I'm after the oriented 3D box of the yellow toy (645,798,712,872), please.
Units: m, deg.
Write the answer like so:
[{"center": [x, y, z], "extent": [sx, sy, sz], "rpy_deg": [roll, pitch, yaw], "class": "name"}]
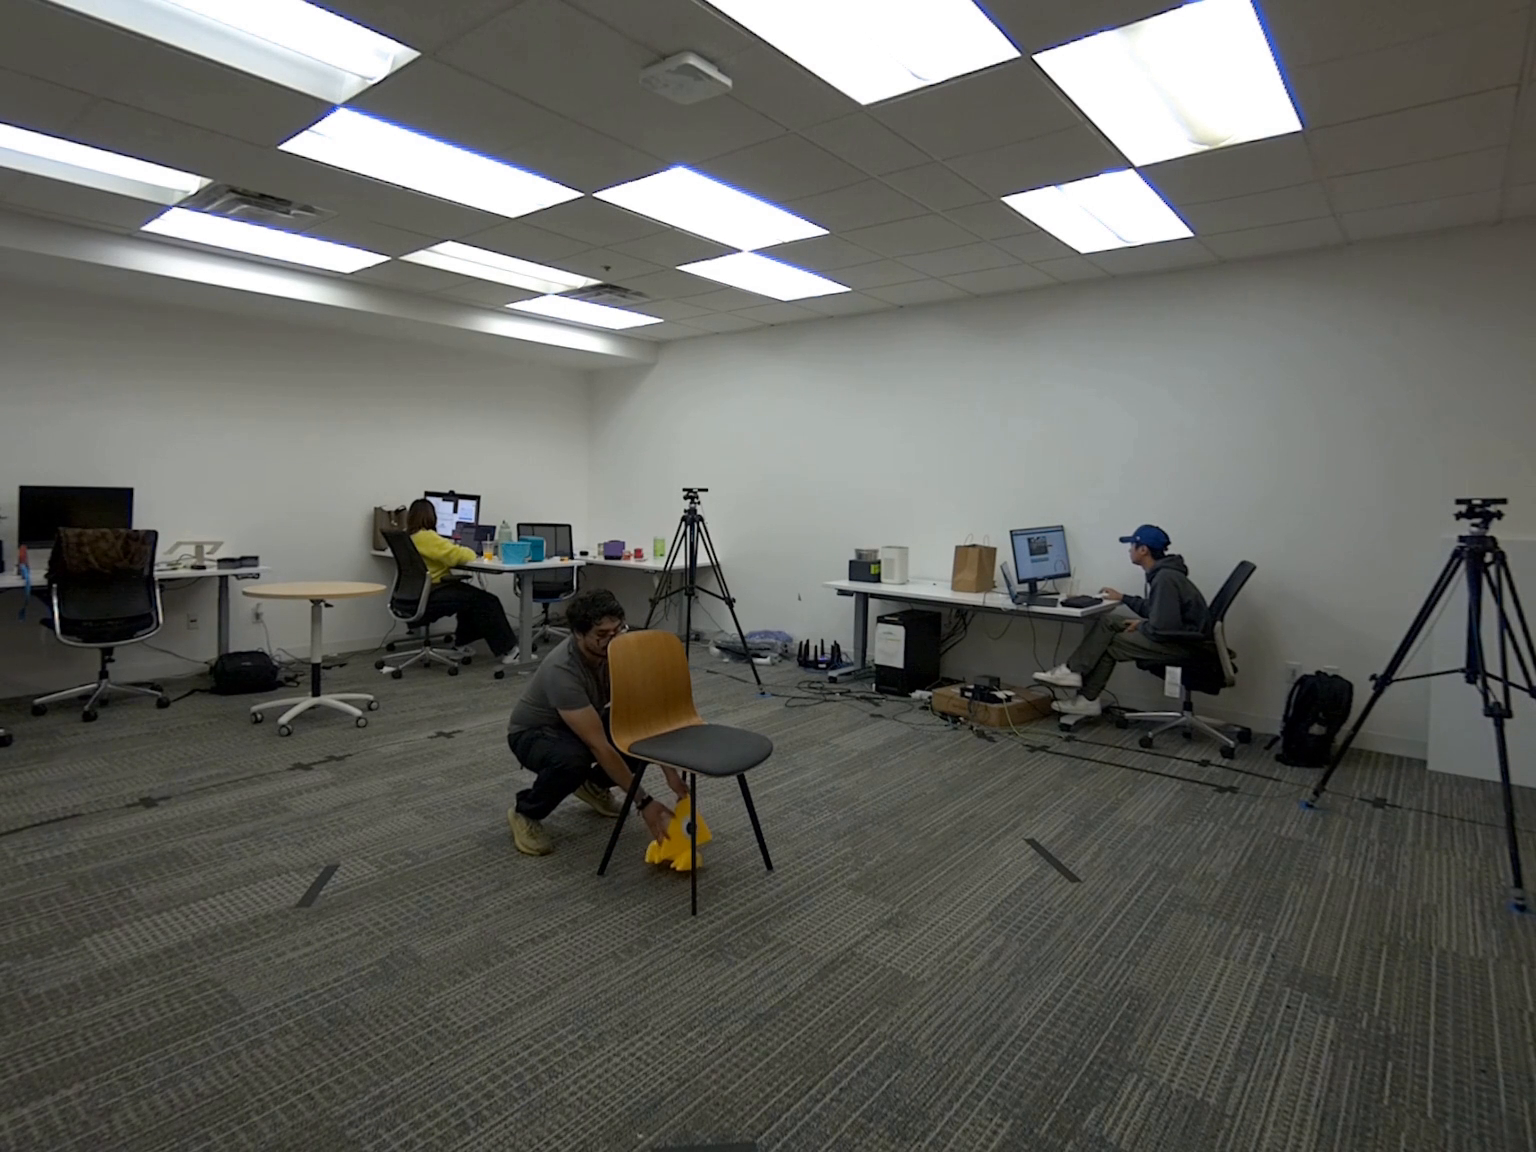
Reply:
[{"center": [-0.338, 0.927, 3.111], "extent": [0.210, 0.231, 0.187], "rpy_deg": [4, -1, 27], "class": "yellow toy"}]
